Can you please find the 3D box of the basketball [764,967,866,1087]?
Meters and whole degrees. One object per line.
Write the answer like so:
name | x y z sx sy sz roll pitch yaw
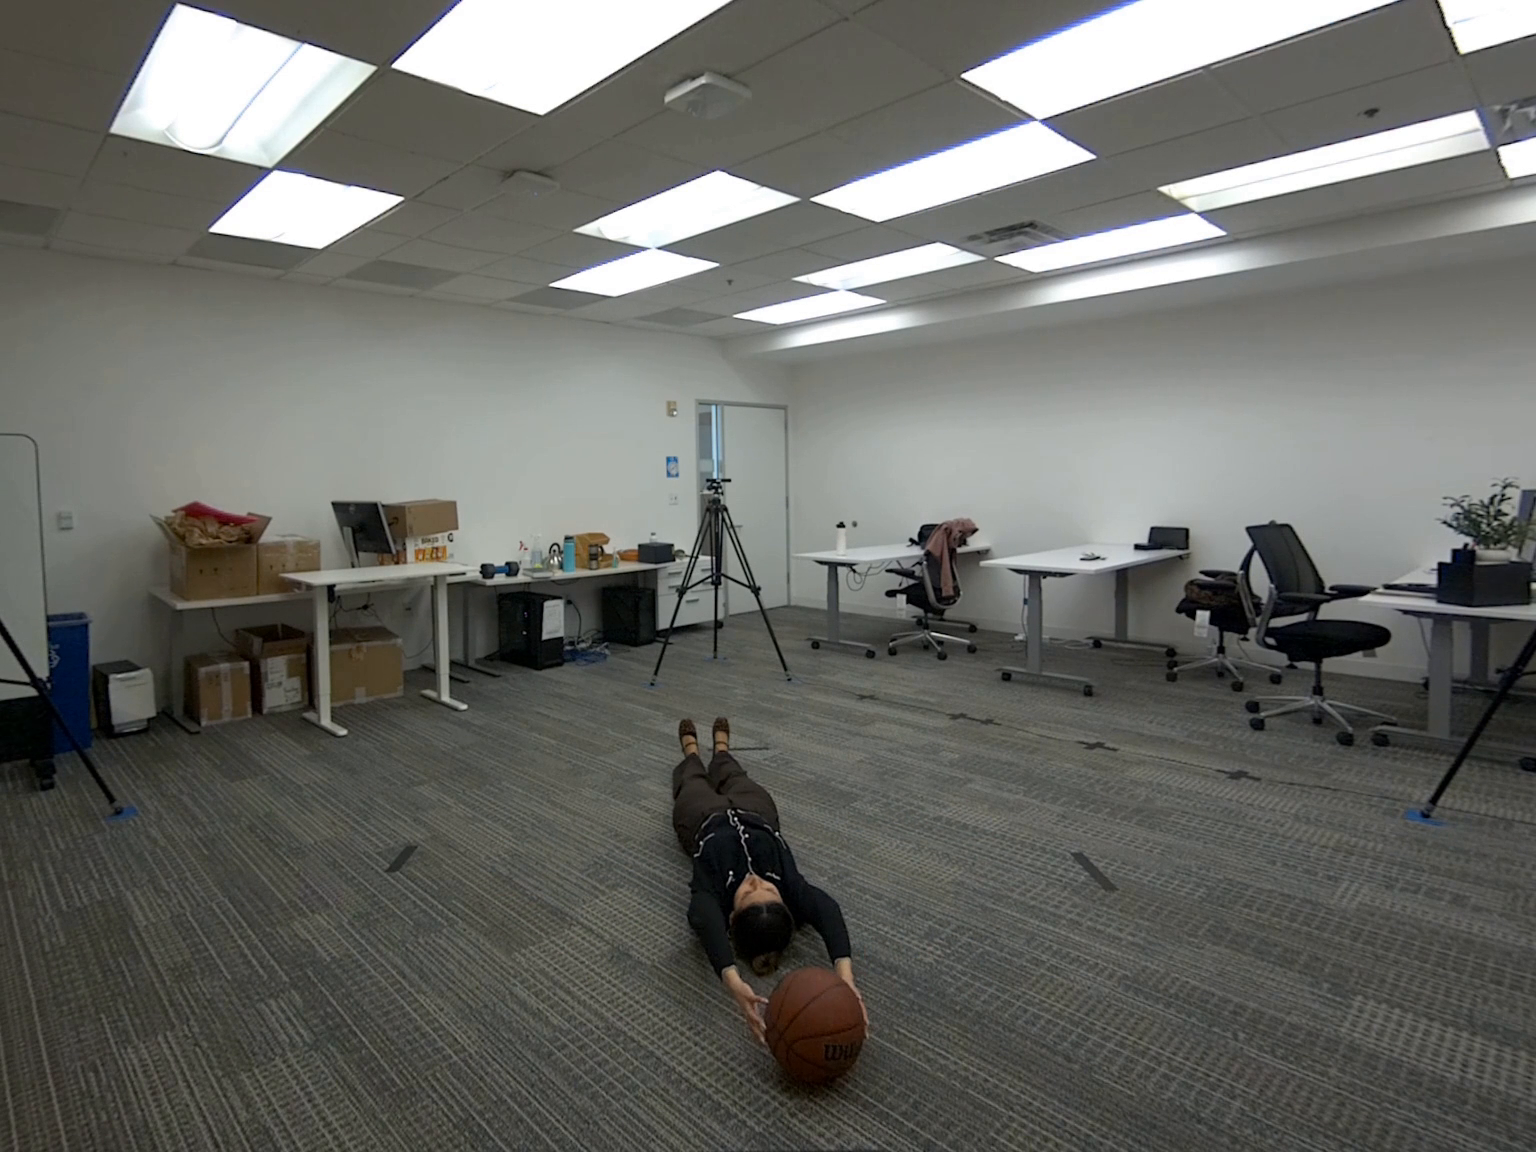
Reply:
basketball | 0.116 1.054 2.013 0.236 0.235 0.237 -1 5 -2
